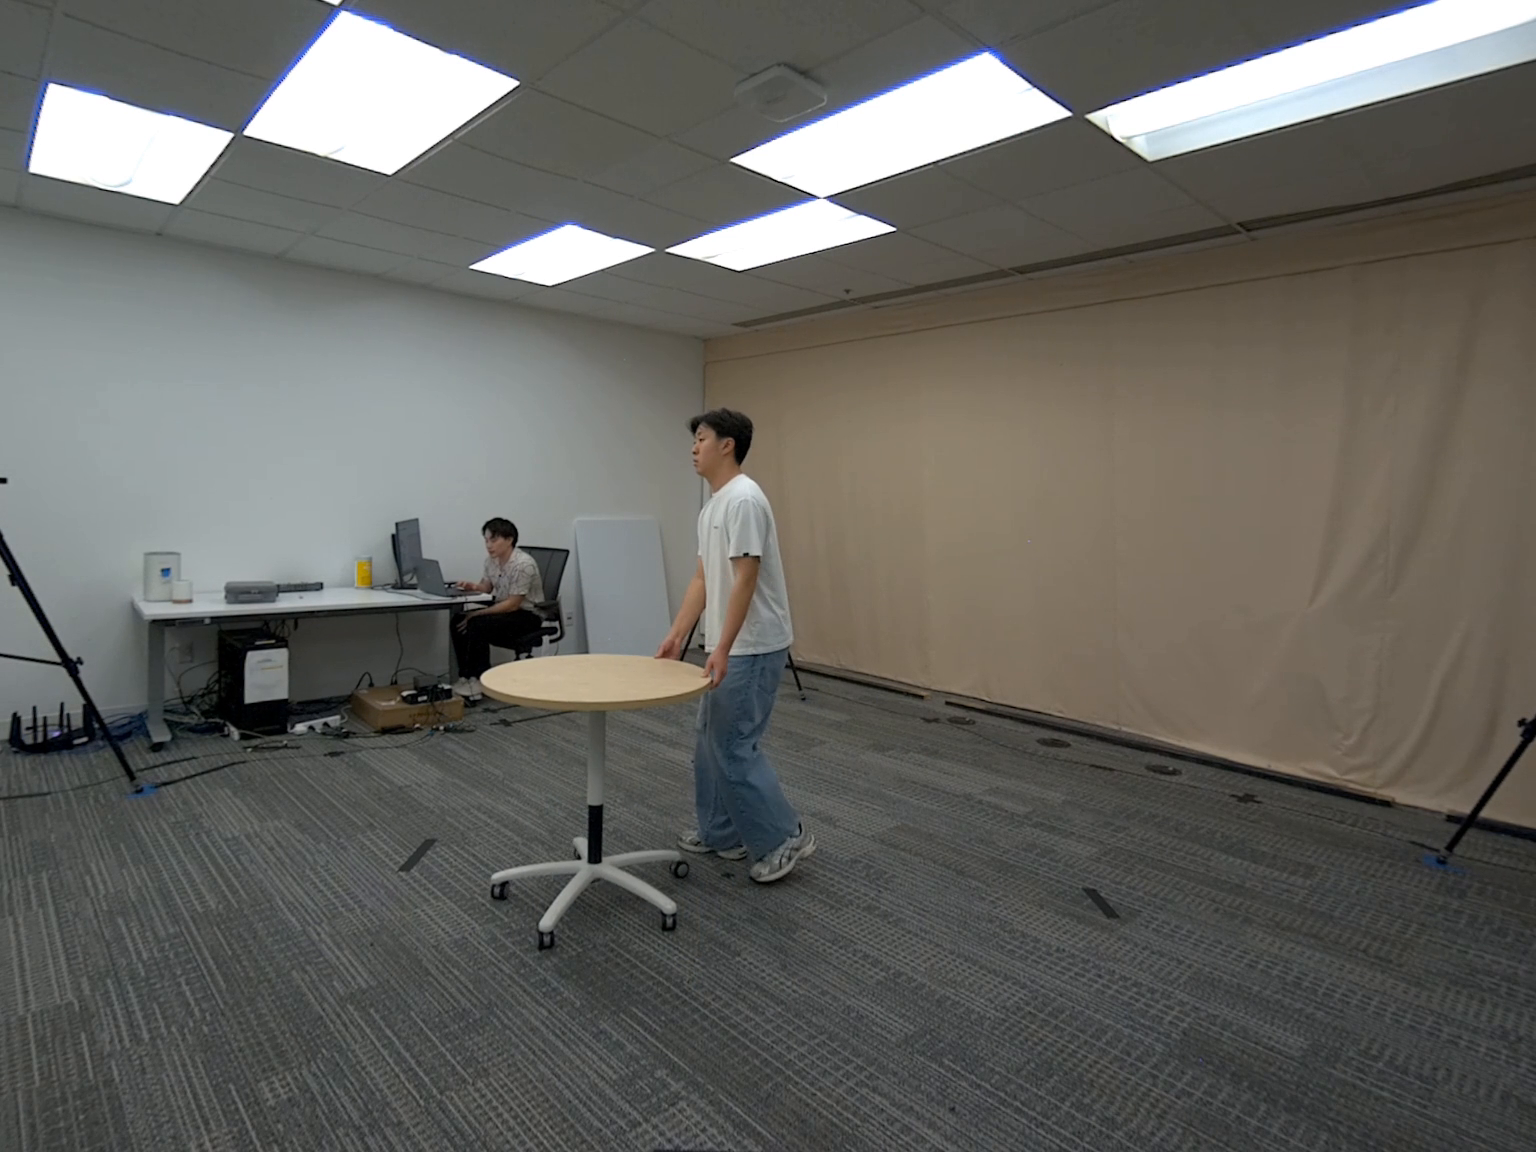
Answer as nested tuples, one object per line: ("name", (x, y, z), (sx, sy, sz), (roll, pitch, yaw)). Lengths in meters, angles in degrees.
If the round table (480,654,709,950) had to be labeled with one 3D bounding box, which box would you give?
("round table", (-0.583, 0.728, 2.863), (0.763, 0.792, 0.767), (1, 4, -1))
